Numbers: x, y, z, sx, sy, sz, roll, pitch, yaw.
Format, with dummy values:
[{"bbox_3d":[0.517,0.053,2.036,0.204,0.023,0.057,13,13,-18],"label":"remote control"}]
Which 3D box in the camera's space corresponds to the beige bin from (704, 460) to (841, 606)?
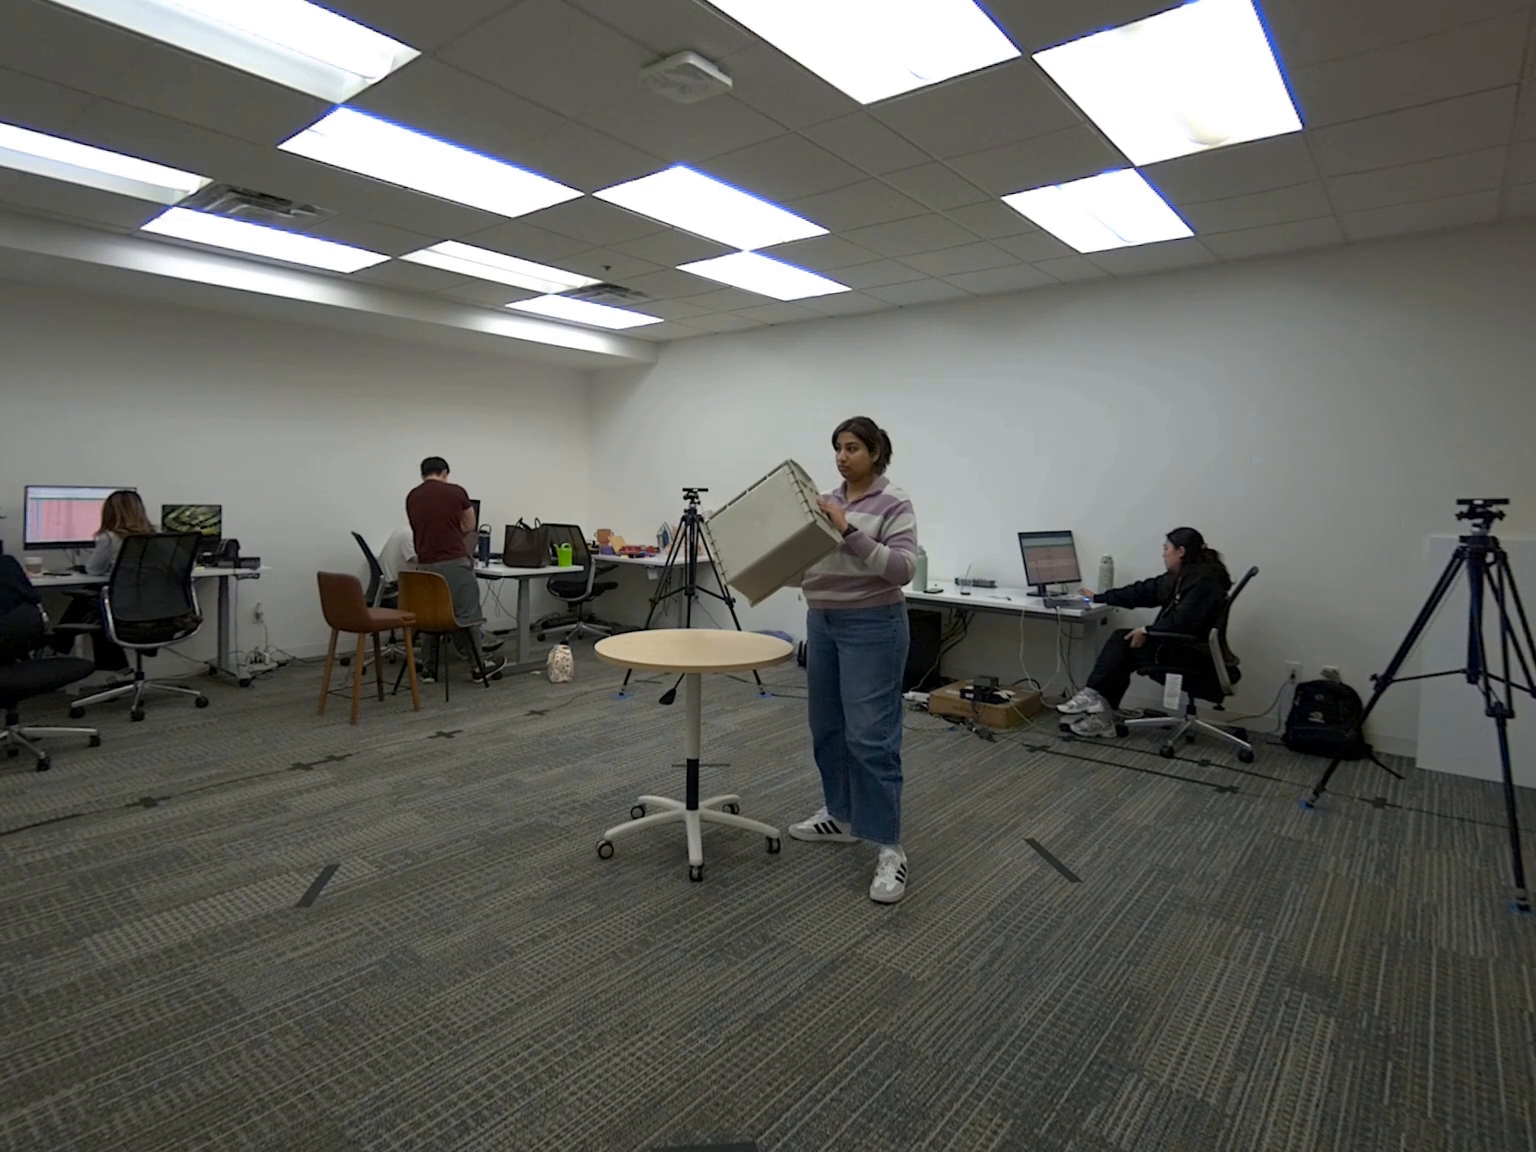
[{"bbox_3d":[-0.006,-0.173,3.116,0.424,0.392,0.181,-35,-43,16],"label":"beige bin"}]
